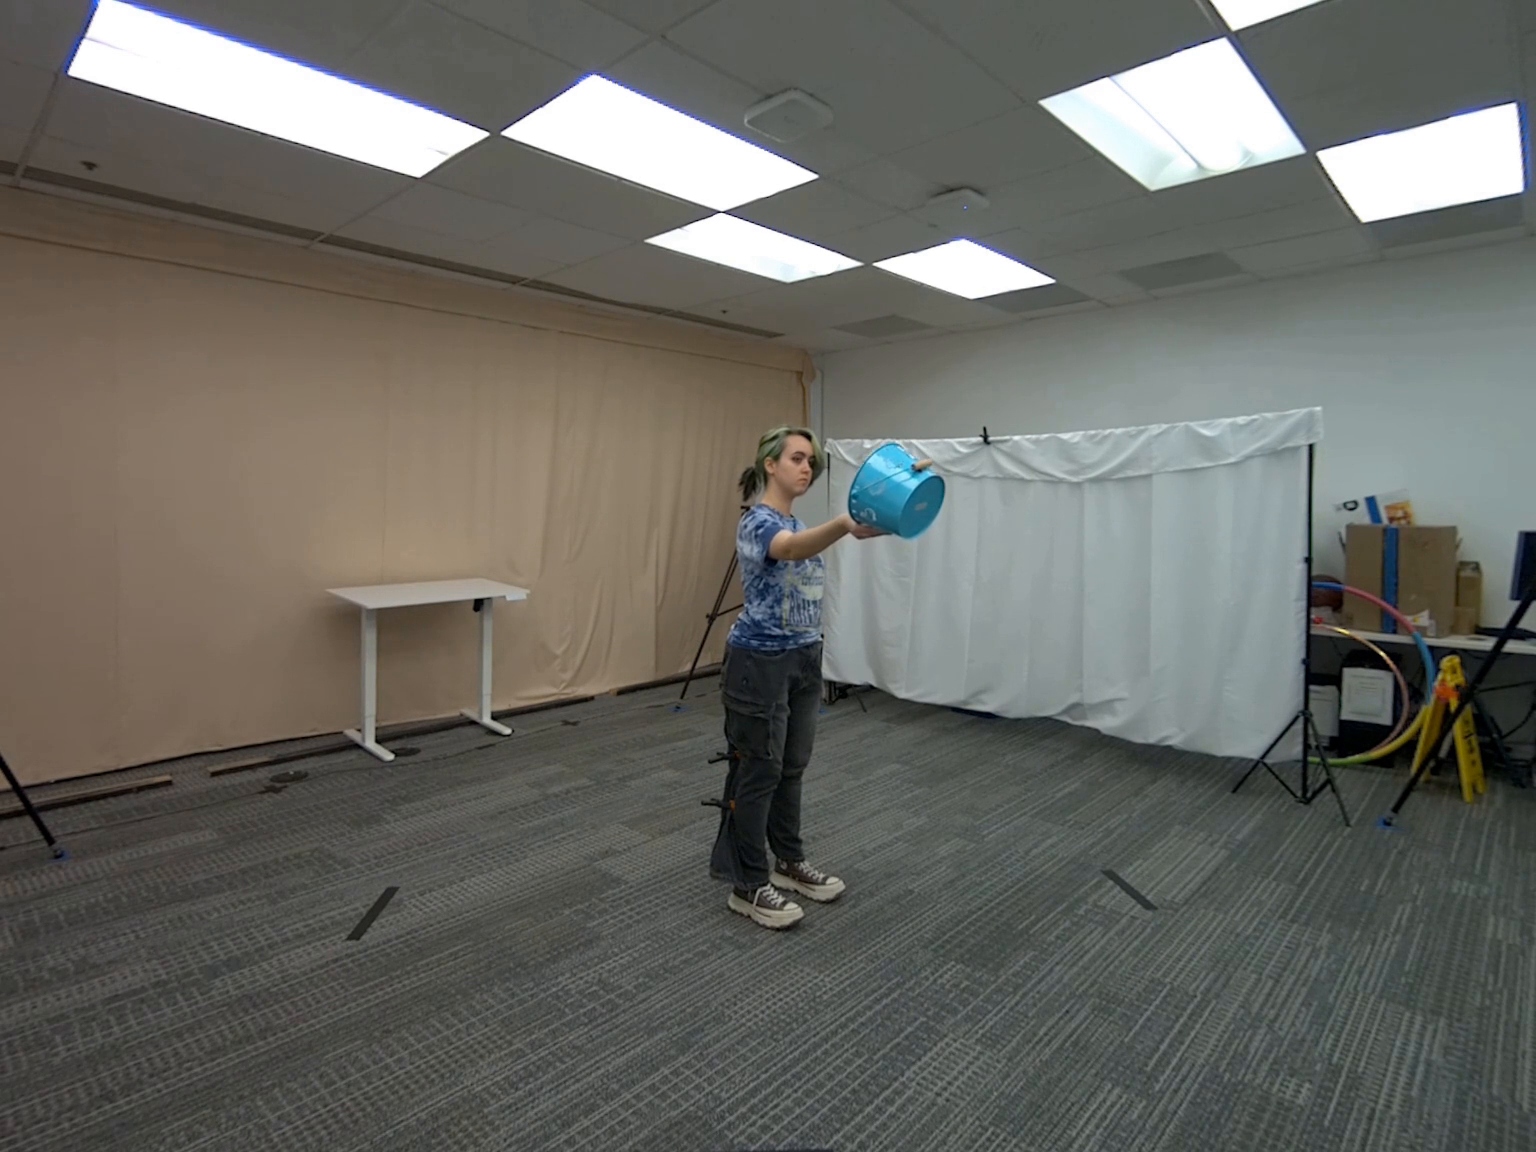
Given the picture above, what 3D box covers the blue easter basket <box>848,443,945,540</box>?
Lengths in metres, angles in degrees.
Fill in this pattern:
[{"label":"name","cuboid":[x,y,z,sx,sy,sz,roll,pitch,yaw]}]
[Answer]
[{"label":"blue easter basket","cuboid":[0.345,-0.201,2.175,0.236,0.242,0.161,-4,31,-47]}]
